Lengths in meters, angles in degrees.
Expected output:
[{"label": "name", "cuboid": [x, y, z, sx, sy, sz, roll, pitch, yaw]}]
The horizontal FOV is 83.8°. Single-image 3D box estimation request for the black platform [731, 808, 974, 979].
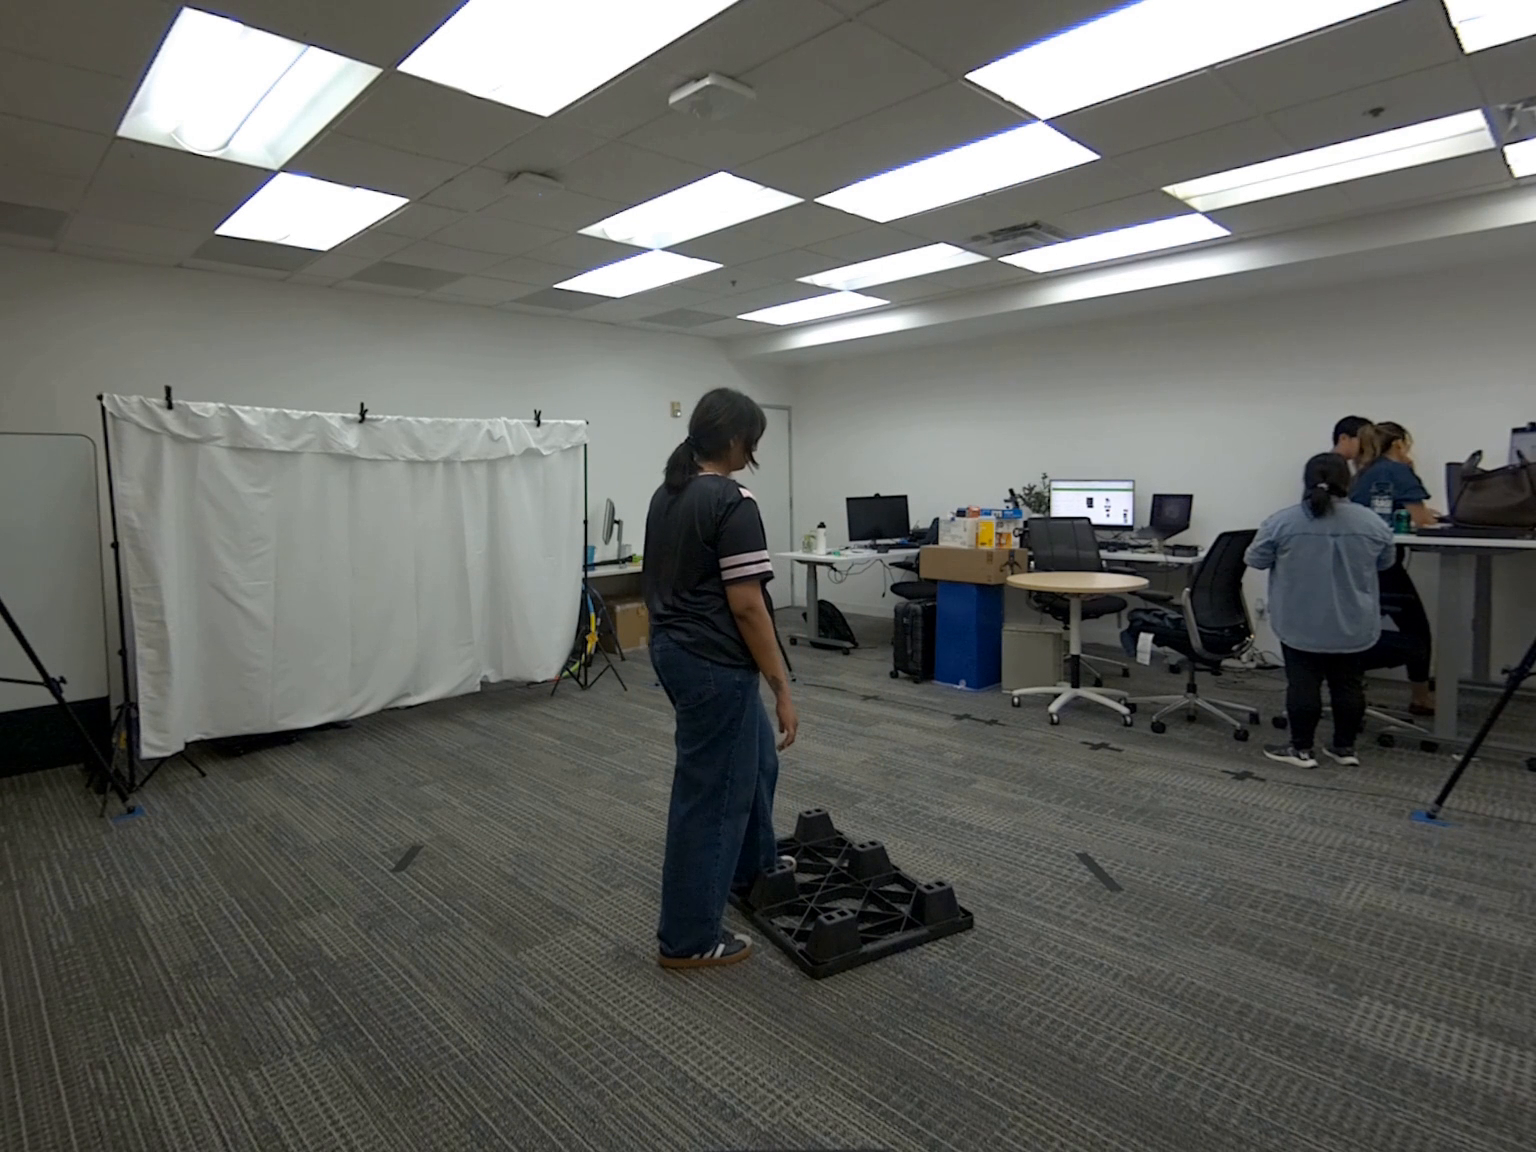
[{"label": "black platform", "cuboid": [0.182, 1.004, 2.864, 0.591, 0.143, 0.828, -4, 7, -29]}]
